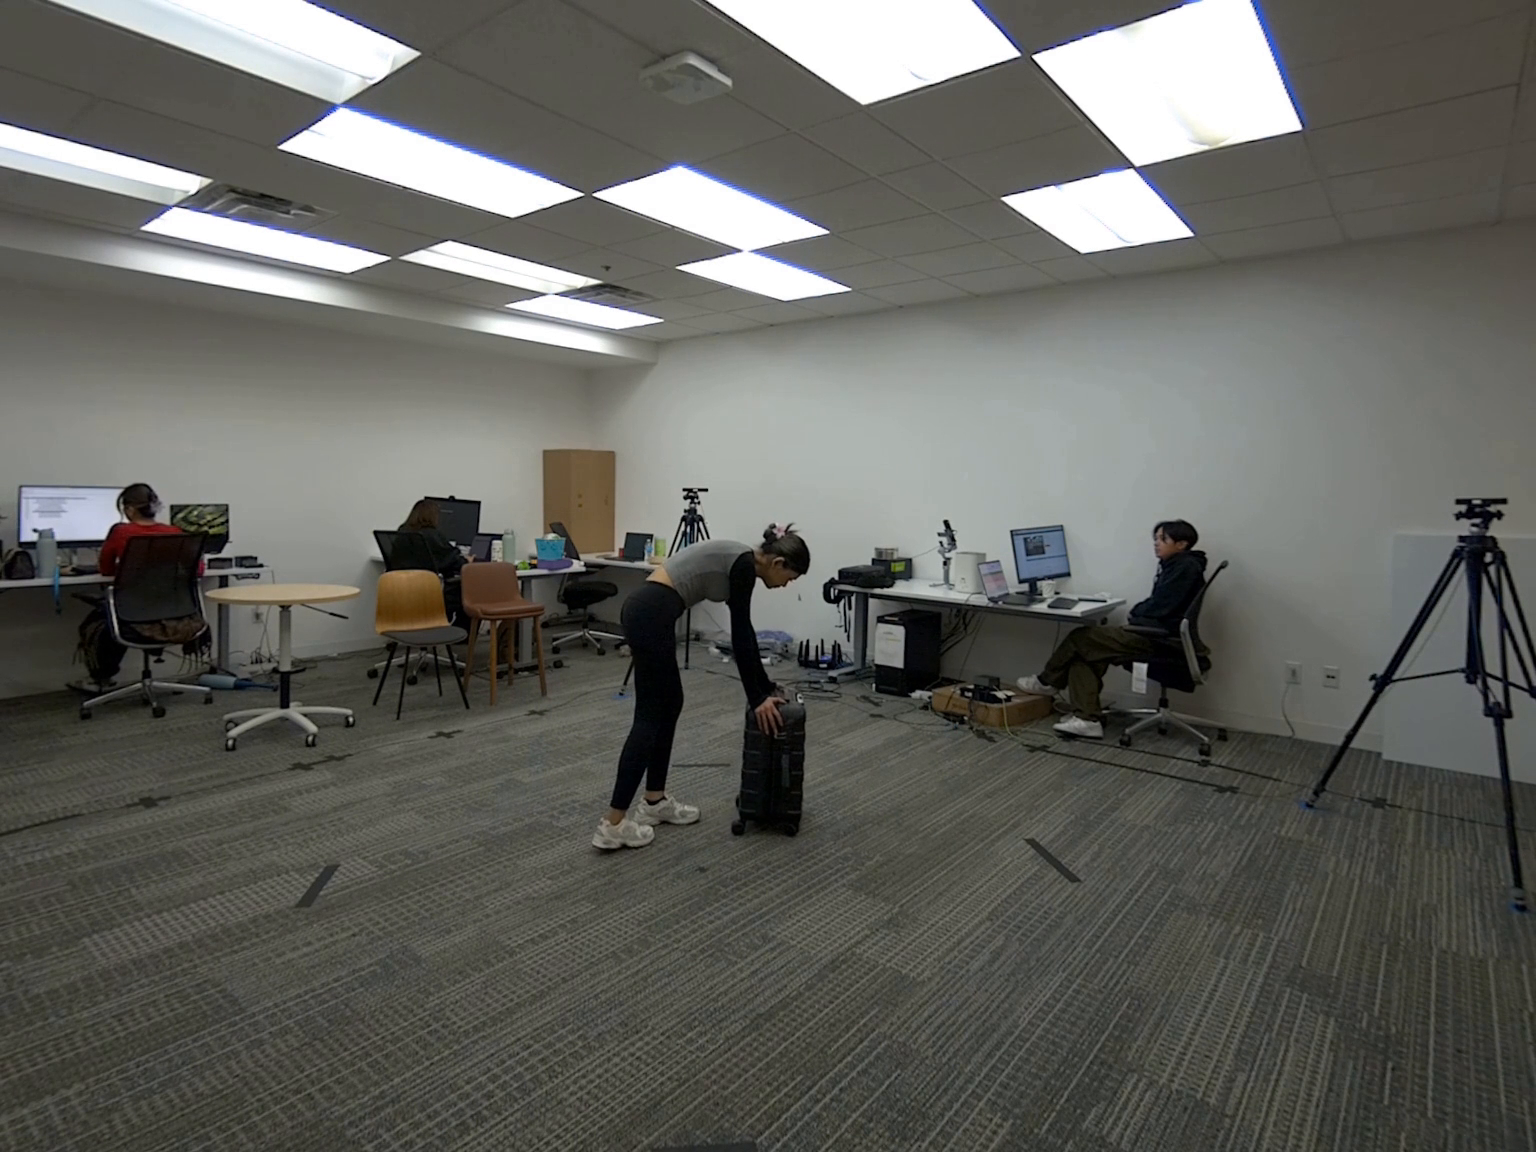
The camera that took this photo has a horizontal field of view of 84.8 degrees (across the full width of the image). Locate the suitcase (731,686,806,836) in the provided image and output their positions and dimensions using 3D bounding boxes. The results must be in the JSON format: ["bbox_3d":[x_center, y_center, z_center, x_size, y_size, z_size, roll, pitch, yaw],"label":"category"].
[{"bbox_3d":[0.005,0.759,3.562,0.249,0.548,0.376,3,4,1],"label":"suitcase"}]
